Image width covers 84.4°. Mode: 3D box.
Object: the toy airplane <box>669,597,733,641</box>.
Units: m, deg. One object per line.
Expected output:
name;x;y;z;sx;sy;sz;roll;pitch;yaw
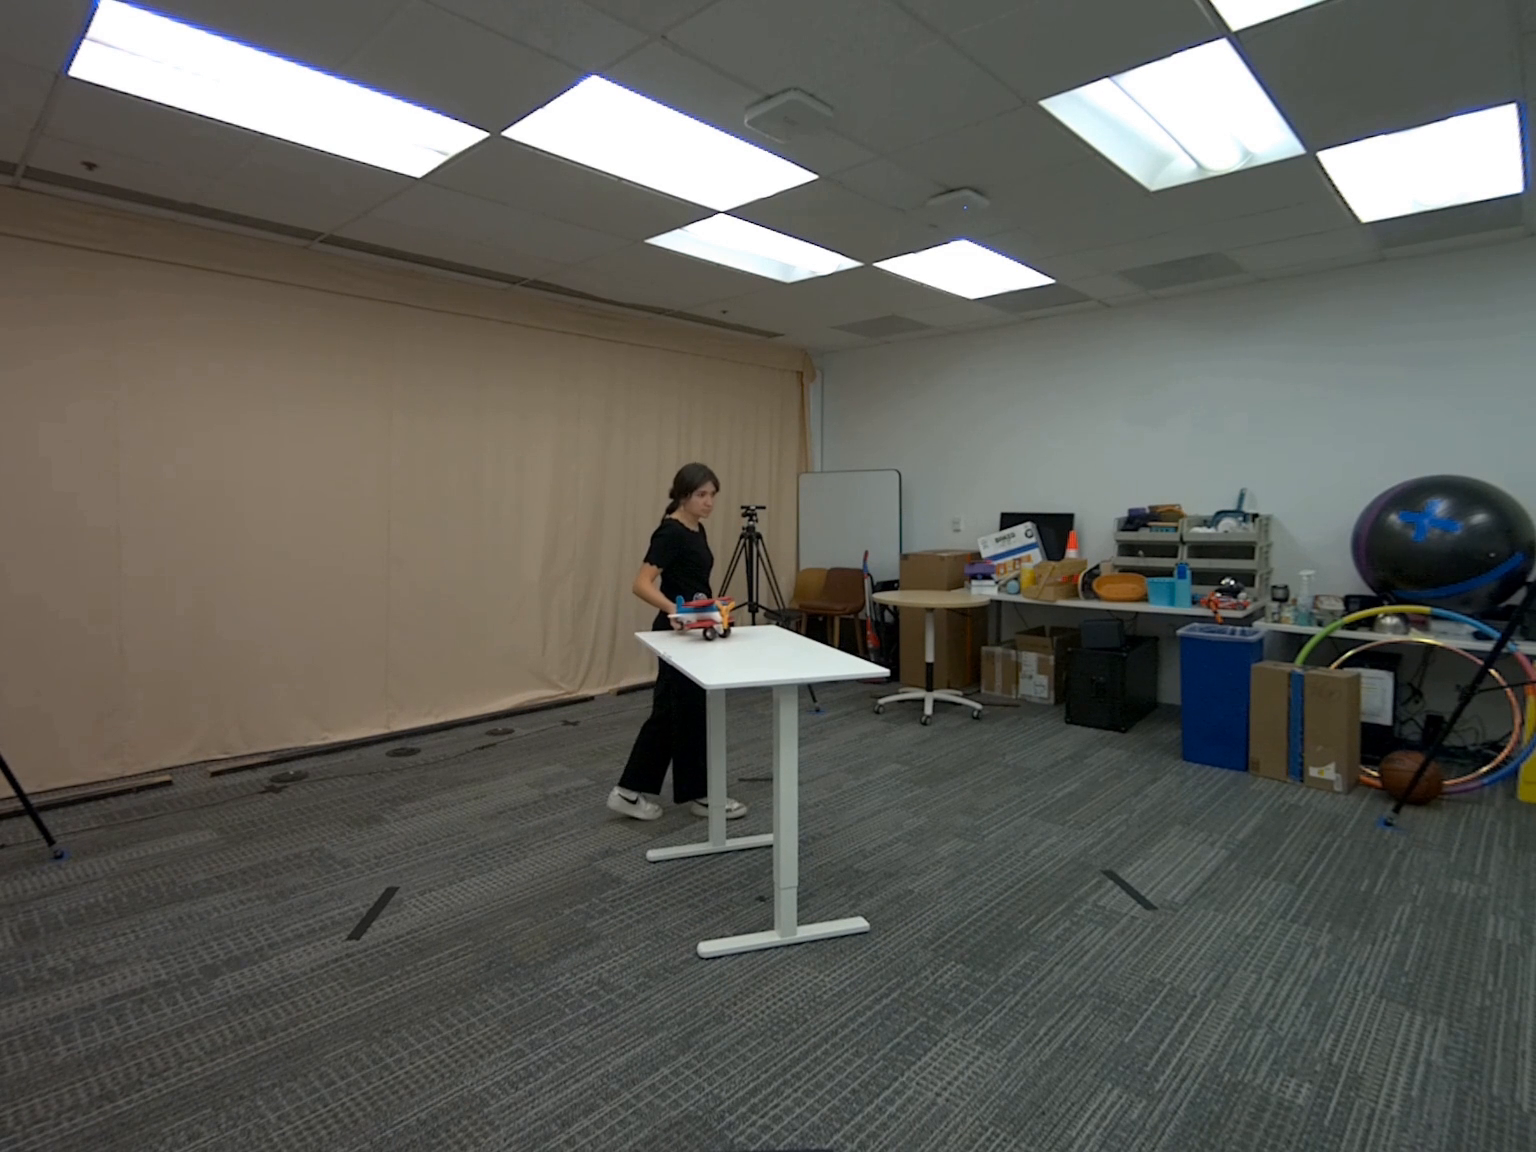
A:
toy airplane;-0.265;0.152;3.242;0.262;0.156;0.249;8;8;9
